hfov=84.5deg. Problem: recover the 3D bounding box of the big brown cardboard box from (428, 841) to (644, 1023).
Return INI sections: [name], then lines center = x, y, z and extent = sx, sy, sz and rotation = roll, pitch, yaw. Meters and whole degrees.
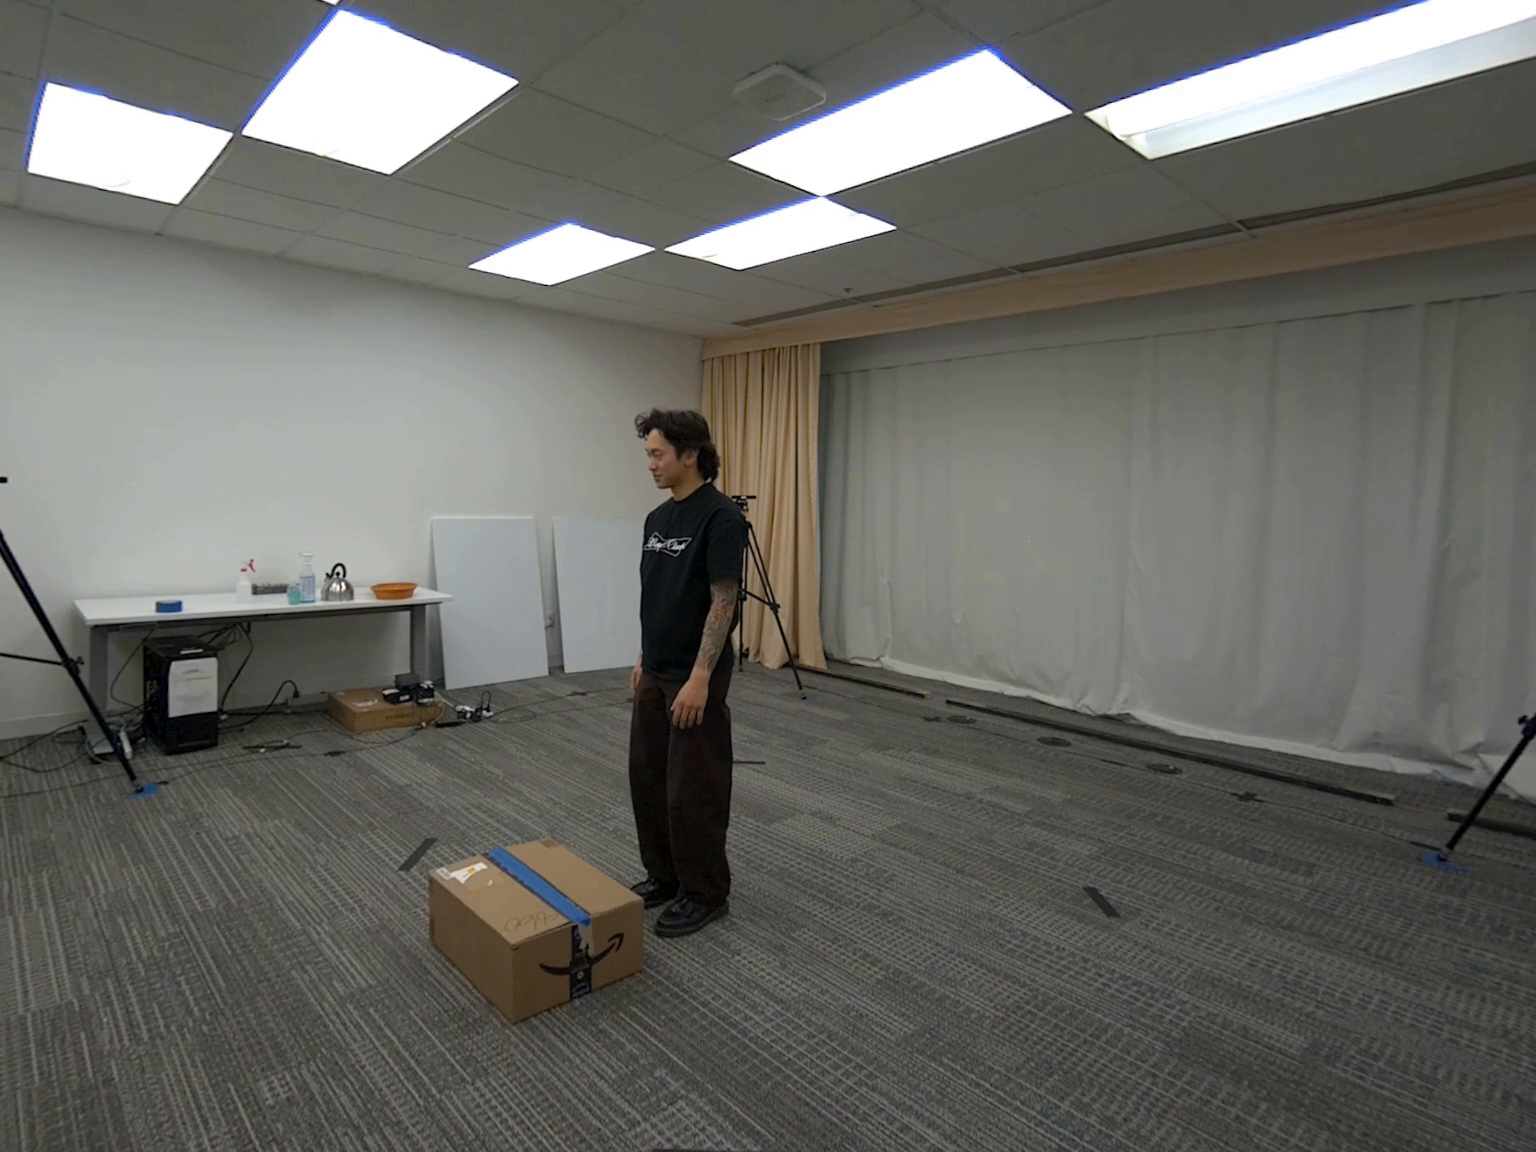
[big brown cardboard box]
center = -0.711, 1.027, 2.540
extent = 0.408, 0.232, 0.604
rotation = -3, 7, -43
